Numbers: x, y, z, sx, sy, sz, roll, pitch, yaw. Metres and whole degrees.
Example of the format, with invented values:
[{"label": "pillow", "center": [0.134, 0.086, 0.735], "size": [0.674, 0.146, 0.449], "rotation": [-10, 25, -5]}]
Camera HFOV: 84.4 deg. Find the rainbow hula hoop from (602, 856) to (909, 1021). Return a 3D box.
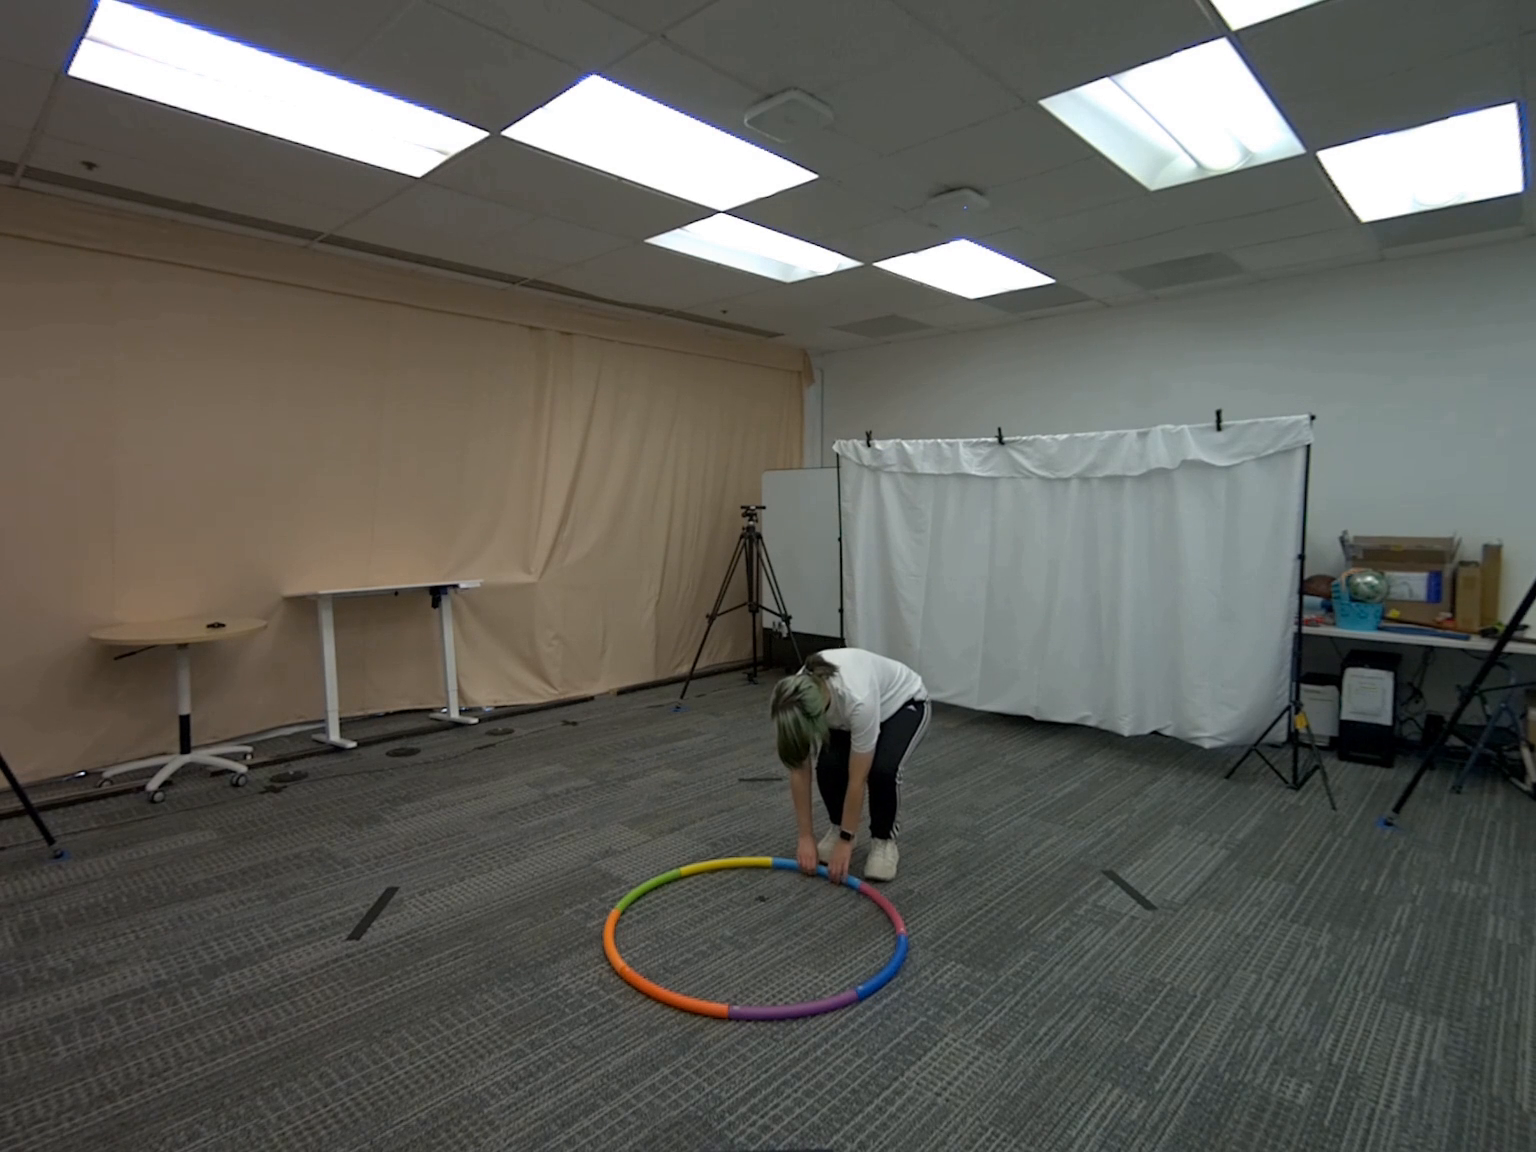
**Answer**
[{"label": "rainbow hula hoop", "center": [-0.046, 1.127, 2.761], "size": [0.978, 0.035, 0.982], "rotation": [-1, 5, -2]}]
